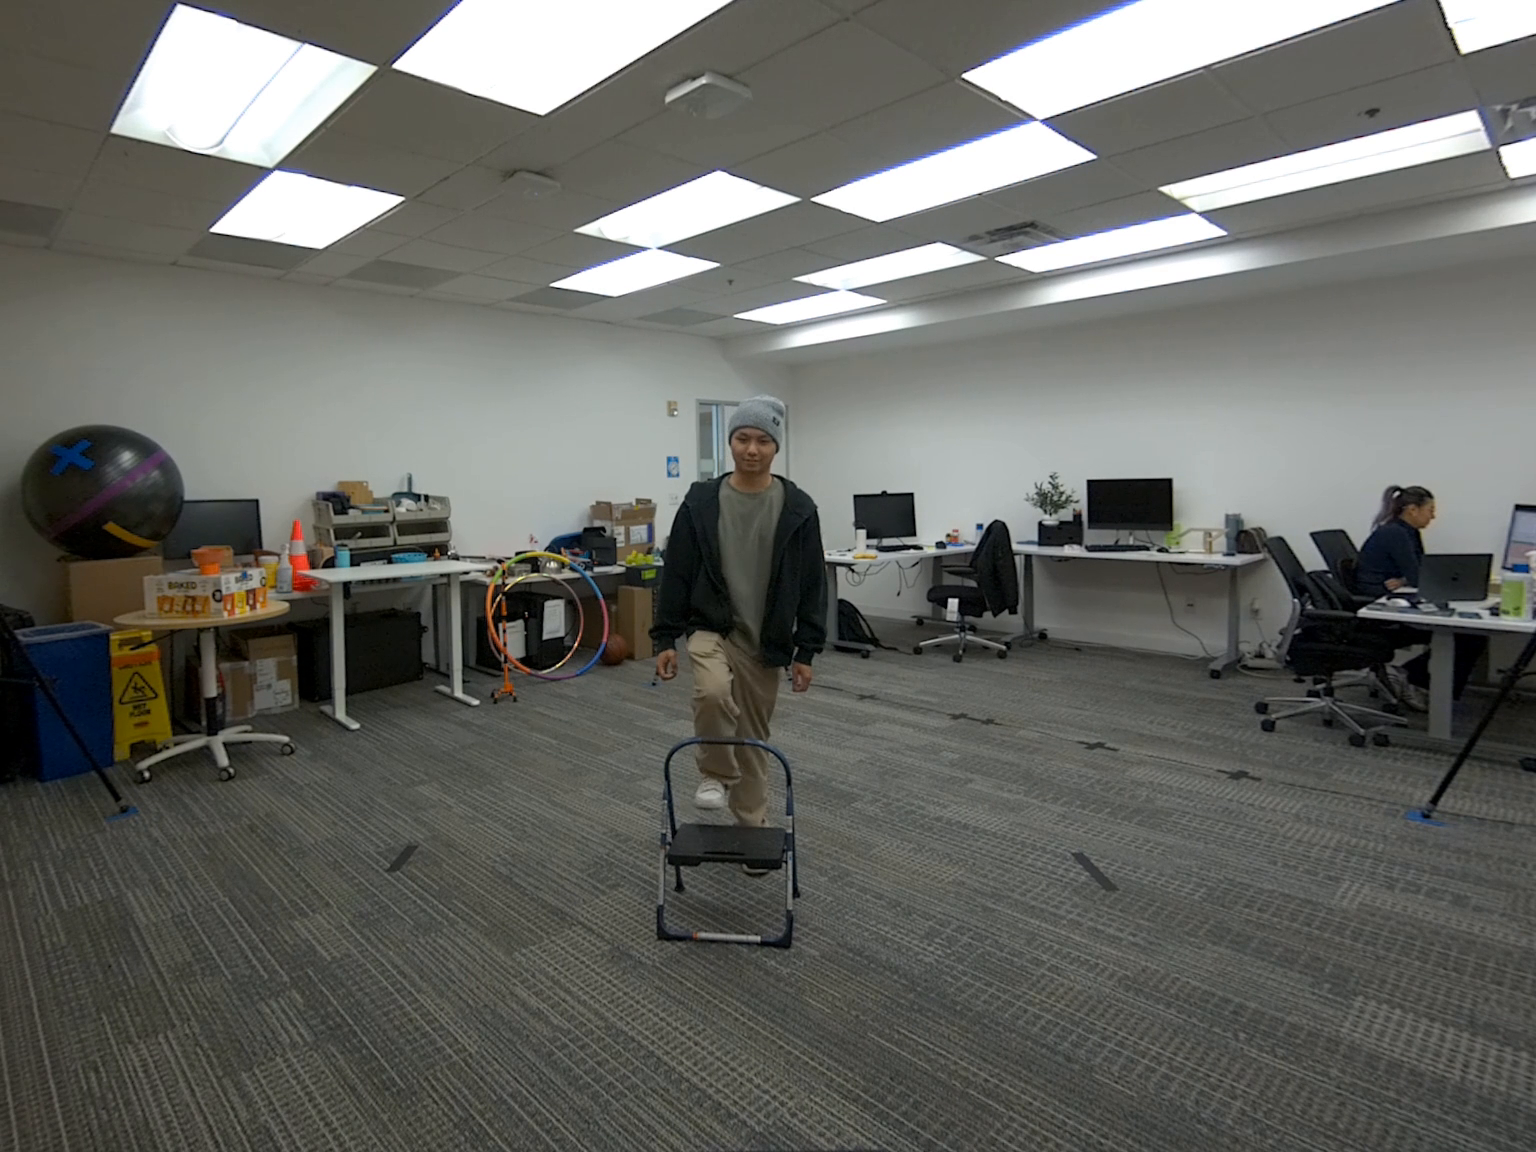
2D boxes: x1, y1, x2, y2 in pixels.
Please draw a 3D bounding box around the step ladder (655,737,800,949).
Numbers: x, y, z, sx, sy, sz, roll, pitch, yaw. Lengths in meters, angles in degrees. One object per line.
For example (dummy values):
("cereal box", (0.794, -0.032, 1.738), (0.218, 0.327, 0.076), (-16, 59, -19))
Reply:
("step ladder", (-0.123, 0.791, 2.718), (0.433, 0.604, 0.348), (0, 5, 6))
